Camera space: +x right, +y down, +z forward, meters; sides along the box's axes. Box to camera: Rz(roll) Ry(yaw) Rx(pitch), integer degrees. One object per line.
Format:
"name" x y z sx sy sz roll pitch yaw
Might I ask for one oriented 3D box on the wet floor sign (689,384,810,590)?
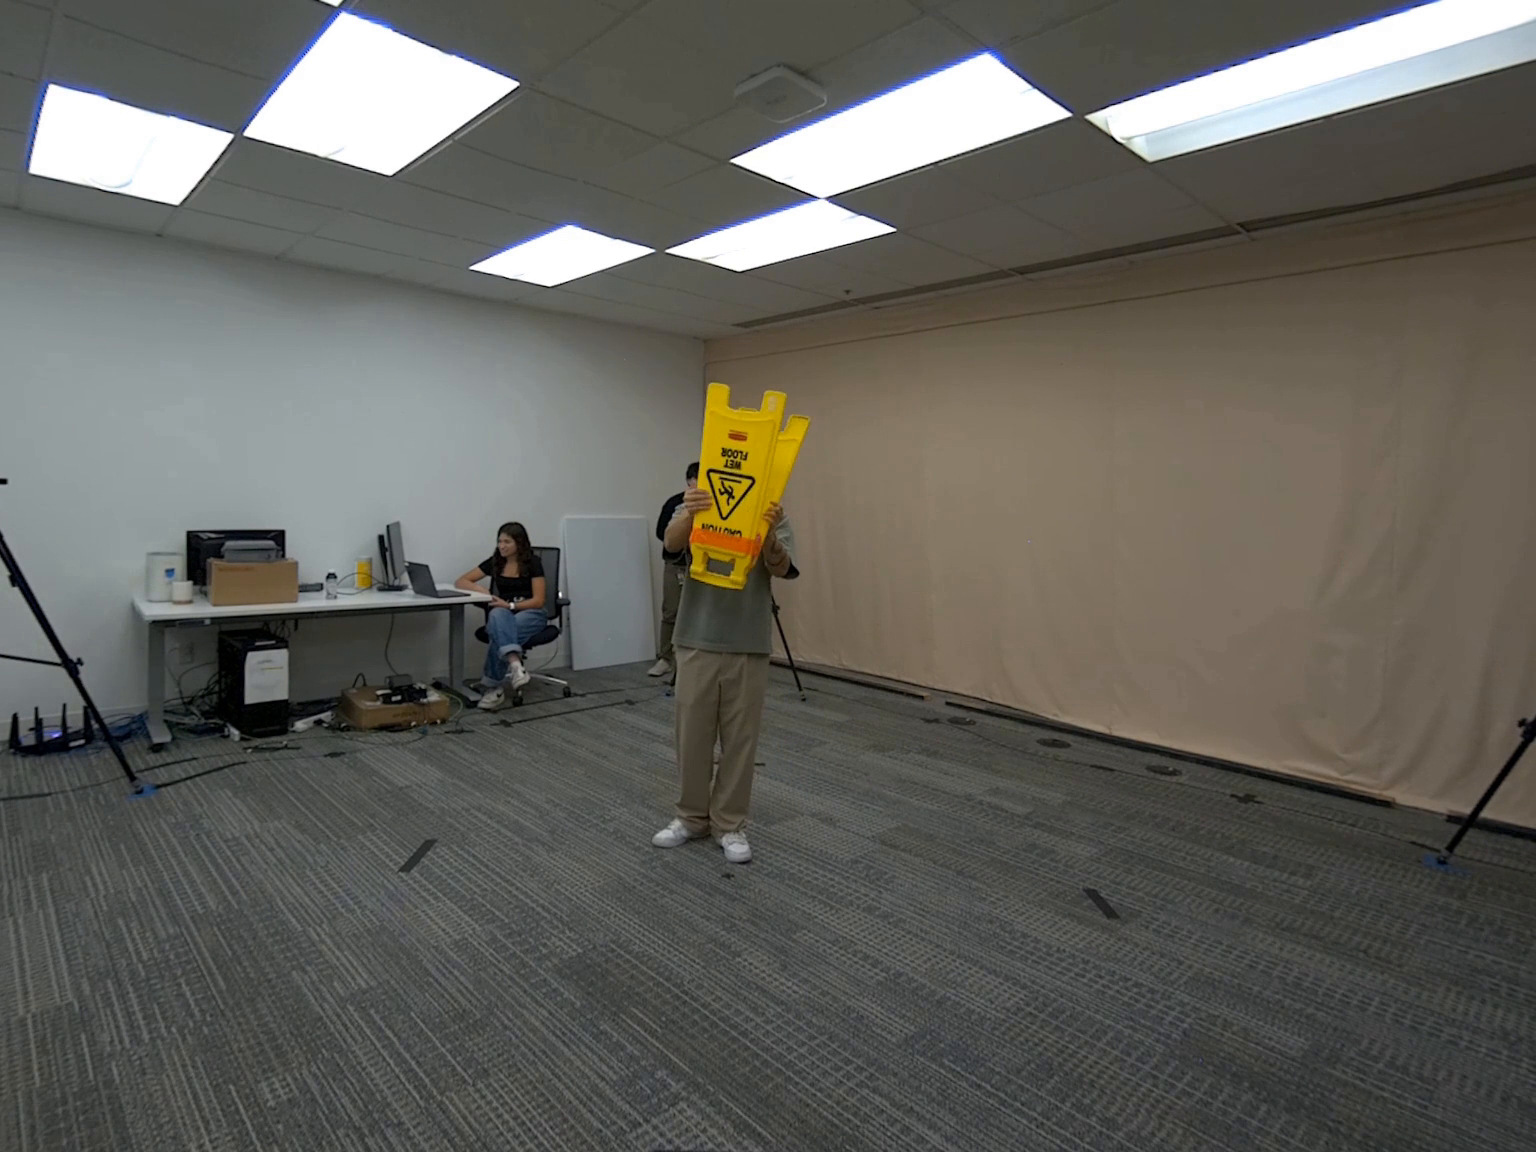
"wet floor sign" -0.106 -0.285 2.854 0.288 0.647 0.283 14 -4 24
